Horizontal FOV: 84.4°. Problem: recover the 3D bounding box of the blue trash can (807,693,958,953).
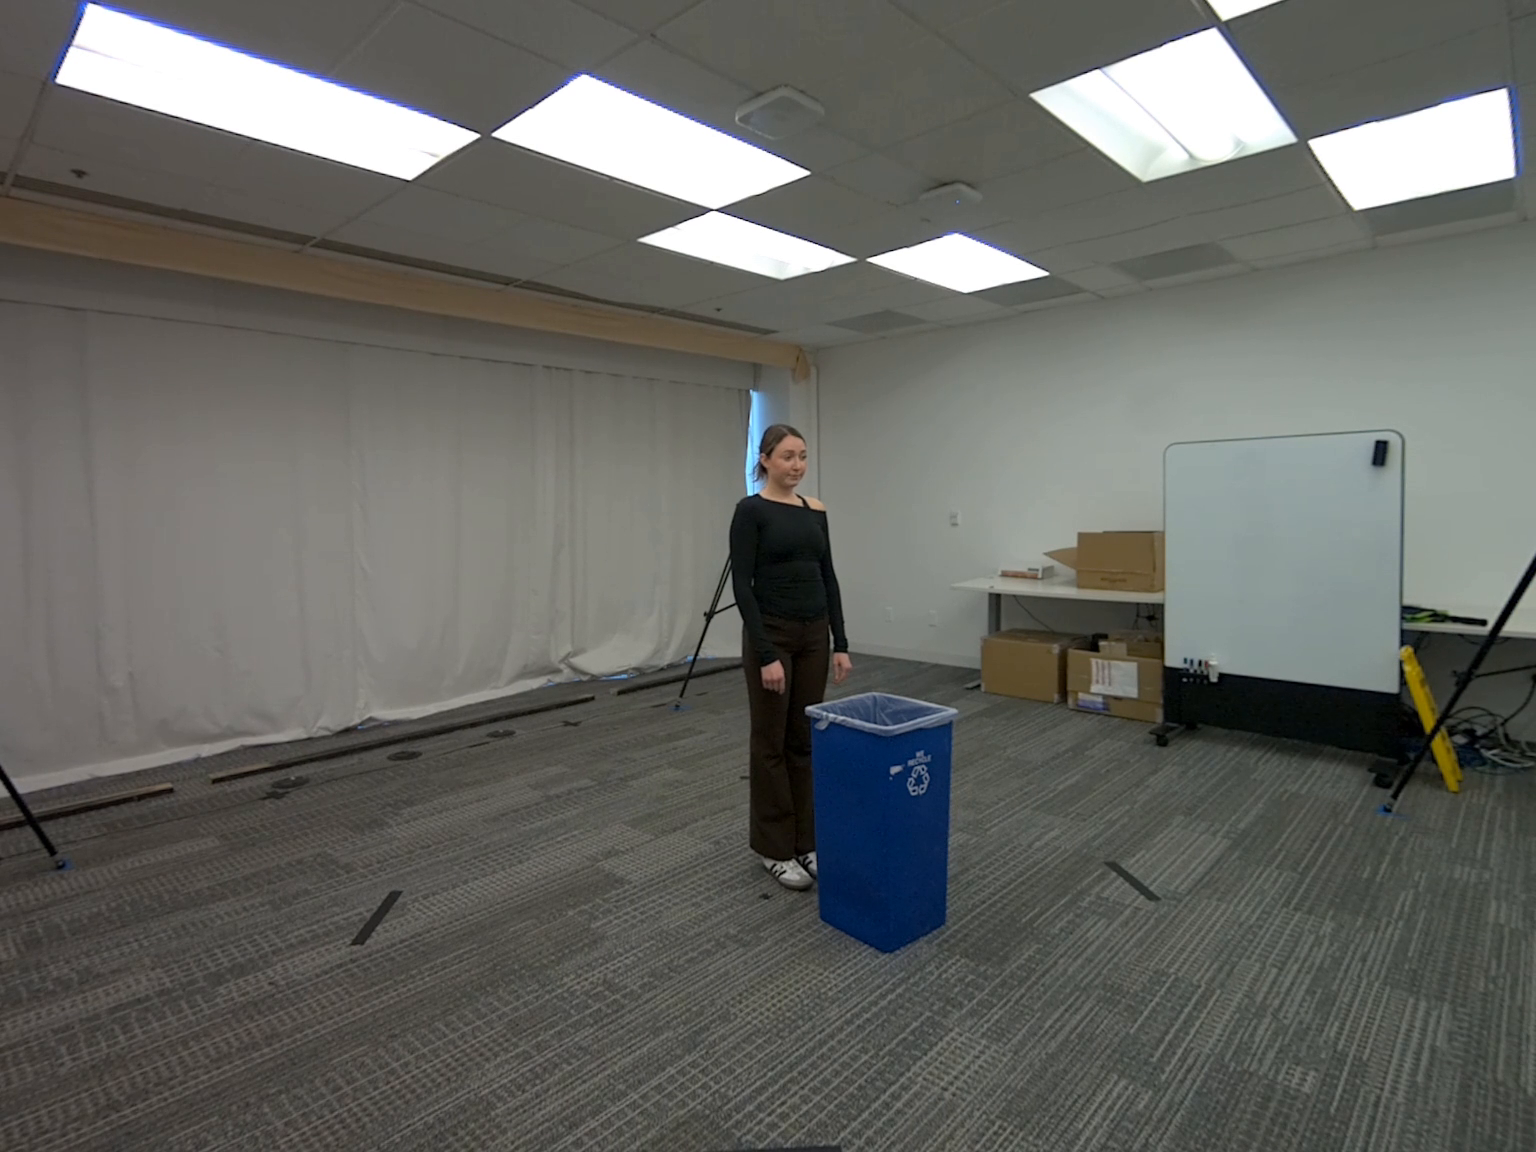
[{"bbox_3d":[0.385,0.789,2.777,0.363,0.712,0.390,-4,5,-40],"label":"blue trash can"}]
